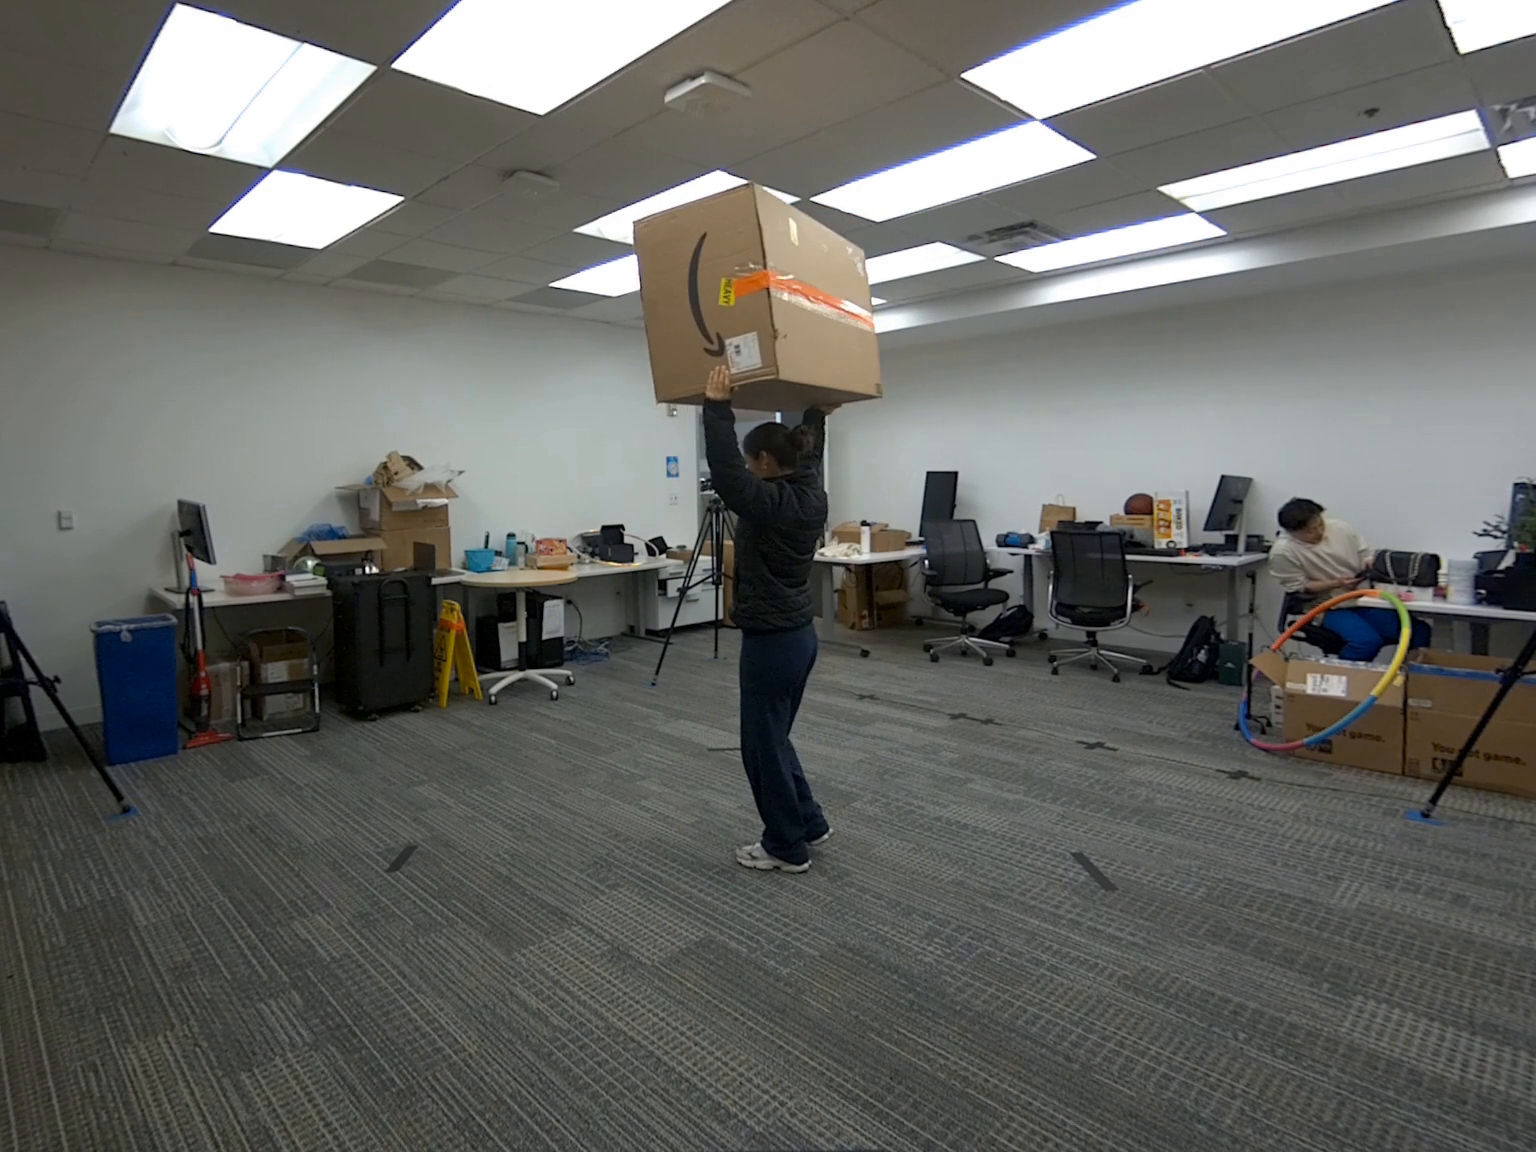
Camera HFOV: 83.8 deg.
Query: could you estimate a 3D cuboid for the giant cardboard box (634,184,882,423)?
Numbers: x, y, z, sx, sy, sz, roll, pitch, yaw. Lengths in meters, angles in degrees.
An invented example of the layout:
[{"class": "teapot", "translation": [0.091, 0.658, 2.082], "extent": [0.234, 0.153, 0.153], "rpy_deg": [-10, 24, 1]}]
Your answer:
[{"class": "giant cardboard box", "translation": [0.012, -0.904, 3.015], "extent": [0.456, 0.582, 1.010], "rpy_deg": [-5, 5, 25]}]
